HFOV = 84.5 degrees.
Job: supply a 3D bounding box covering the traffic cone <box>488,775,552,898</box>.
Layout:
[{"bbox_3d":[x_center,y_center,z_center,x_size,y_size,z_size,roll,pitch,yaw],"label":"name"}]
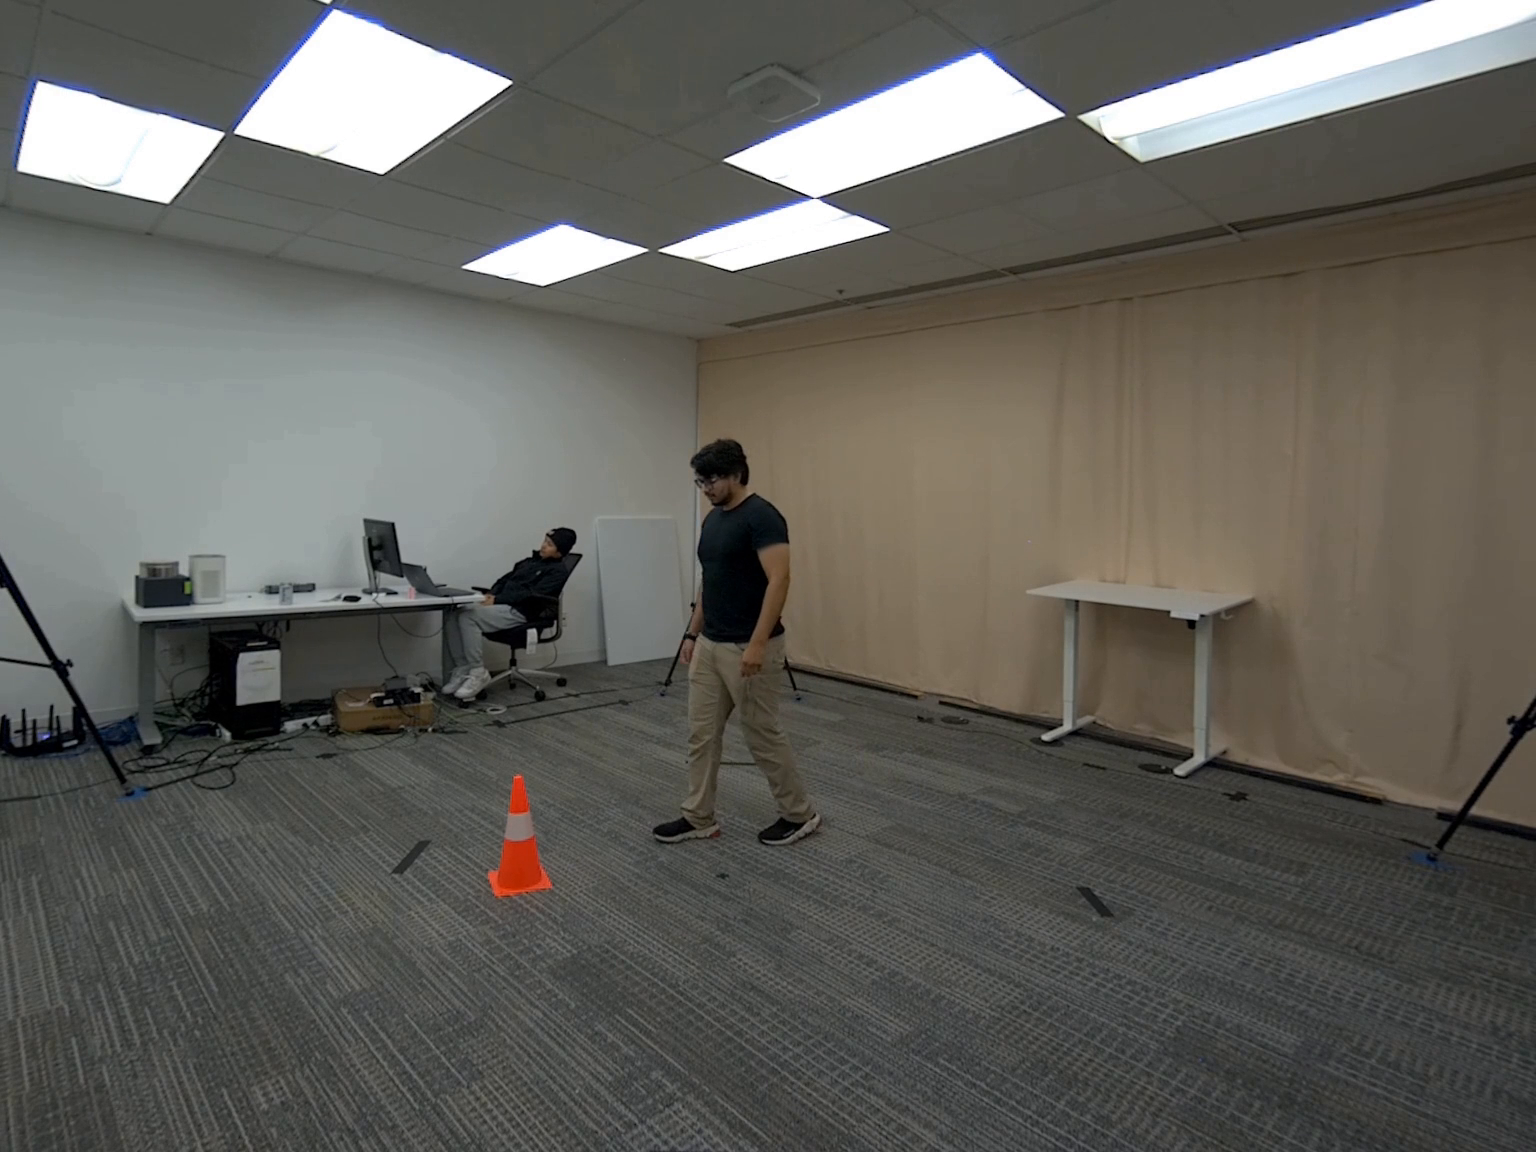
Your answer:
[{"bbox_3d":[-0.901,0.915,3.017,0.201,0.382,0.208,0,5,-29],"label":"traffic cone"}]
